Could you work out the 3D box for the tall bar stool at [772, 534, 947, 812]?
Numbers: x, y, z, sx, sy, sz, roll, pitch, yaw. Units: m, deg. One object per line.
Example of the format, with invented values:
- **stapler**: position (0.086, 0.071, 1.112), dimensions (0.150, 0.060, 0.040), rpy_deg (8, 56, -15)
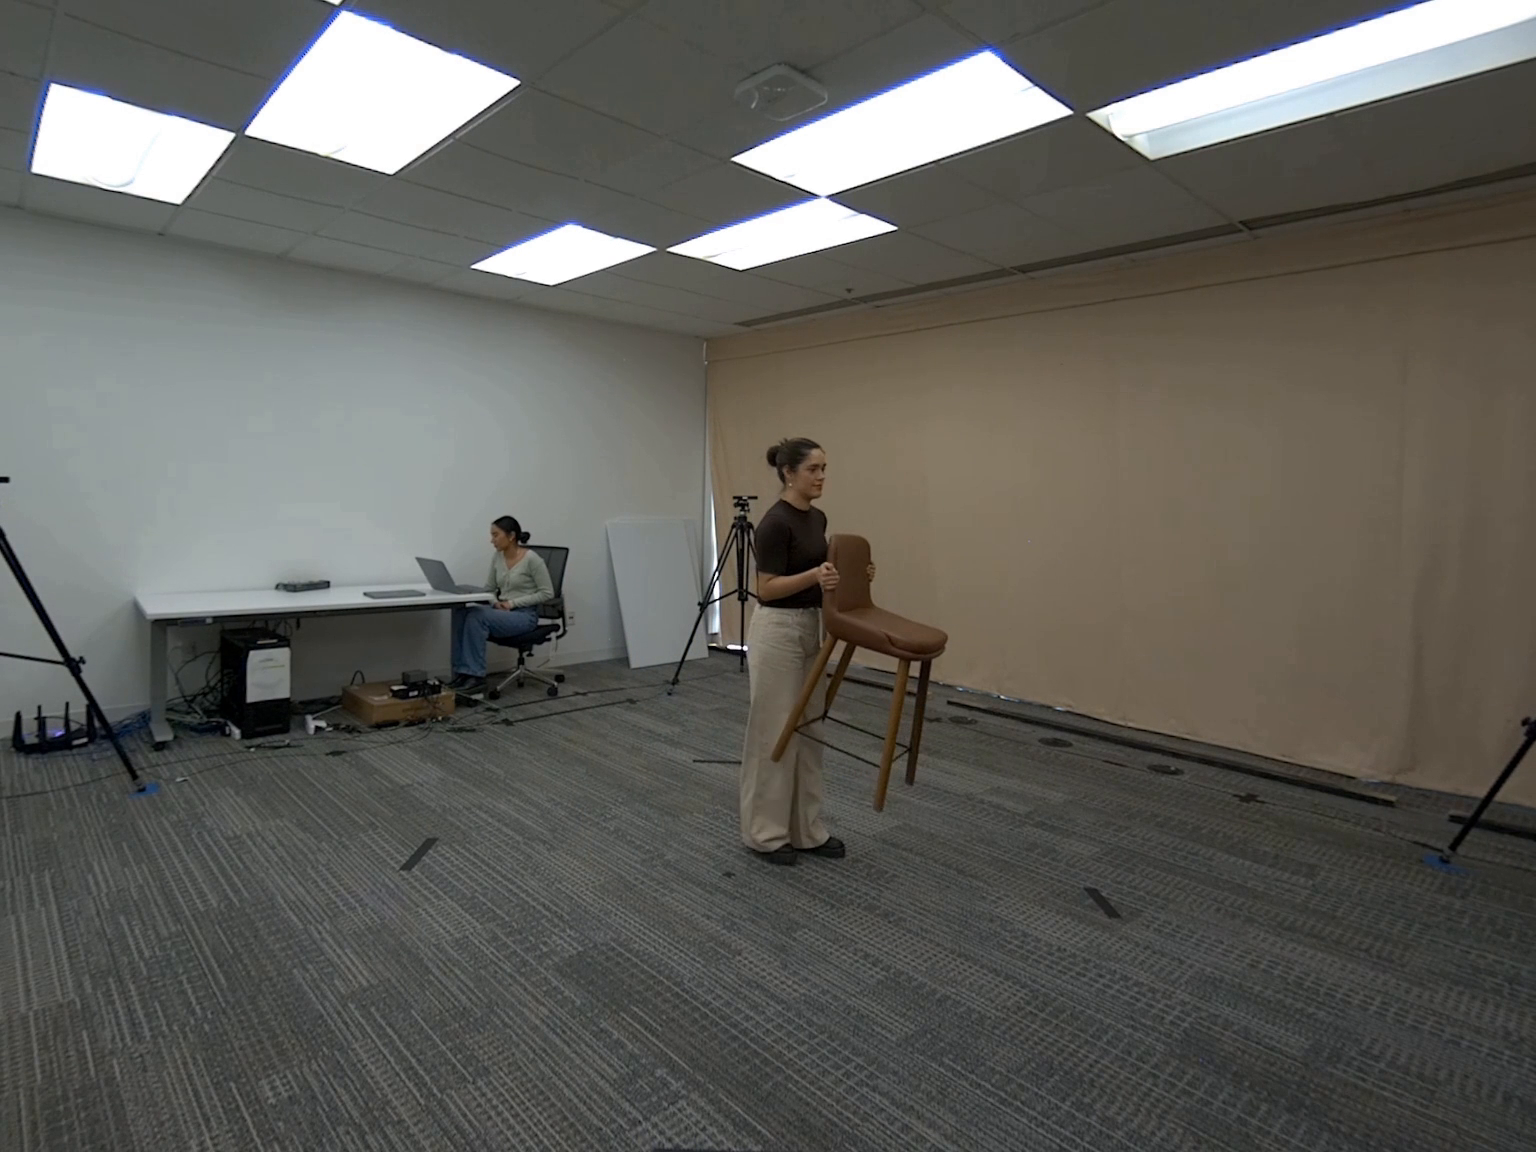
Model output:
- **tall bar stool**: position (0.371, 0.335, 3.141), dimensions (0.479, 0.886, 0.447), rpy_deg (17, 7, 27)
